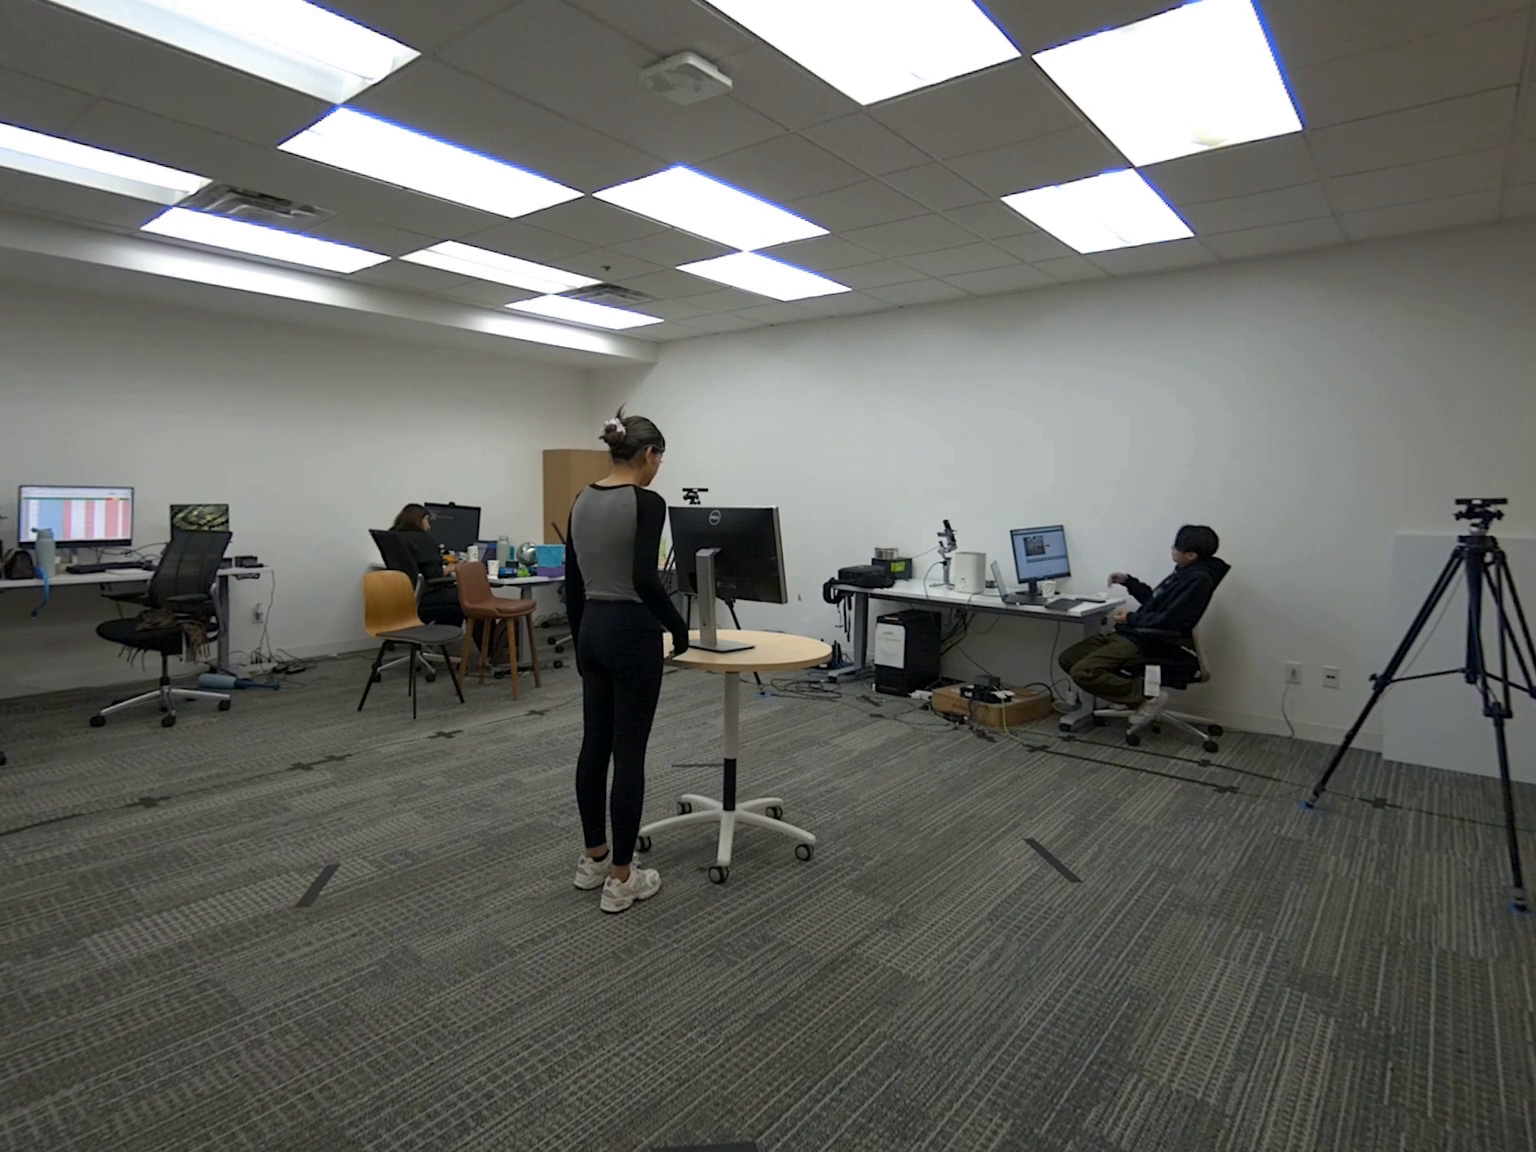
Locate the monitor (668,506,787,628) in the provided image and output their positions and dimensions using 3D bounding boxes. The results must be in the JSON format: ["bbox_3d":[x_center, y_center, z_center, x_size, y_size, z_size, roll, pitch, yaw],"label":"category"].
[{"bbox_3d":[-0.205,0.003,3.251,0.557,0.522,0.181,4,2,40],"label":"monitor"}]
